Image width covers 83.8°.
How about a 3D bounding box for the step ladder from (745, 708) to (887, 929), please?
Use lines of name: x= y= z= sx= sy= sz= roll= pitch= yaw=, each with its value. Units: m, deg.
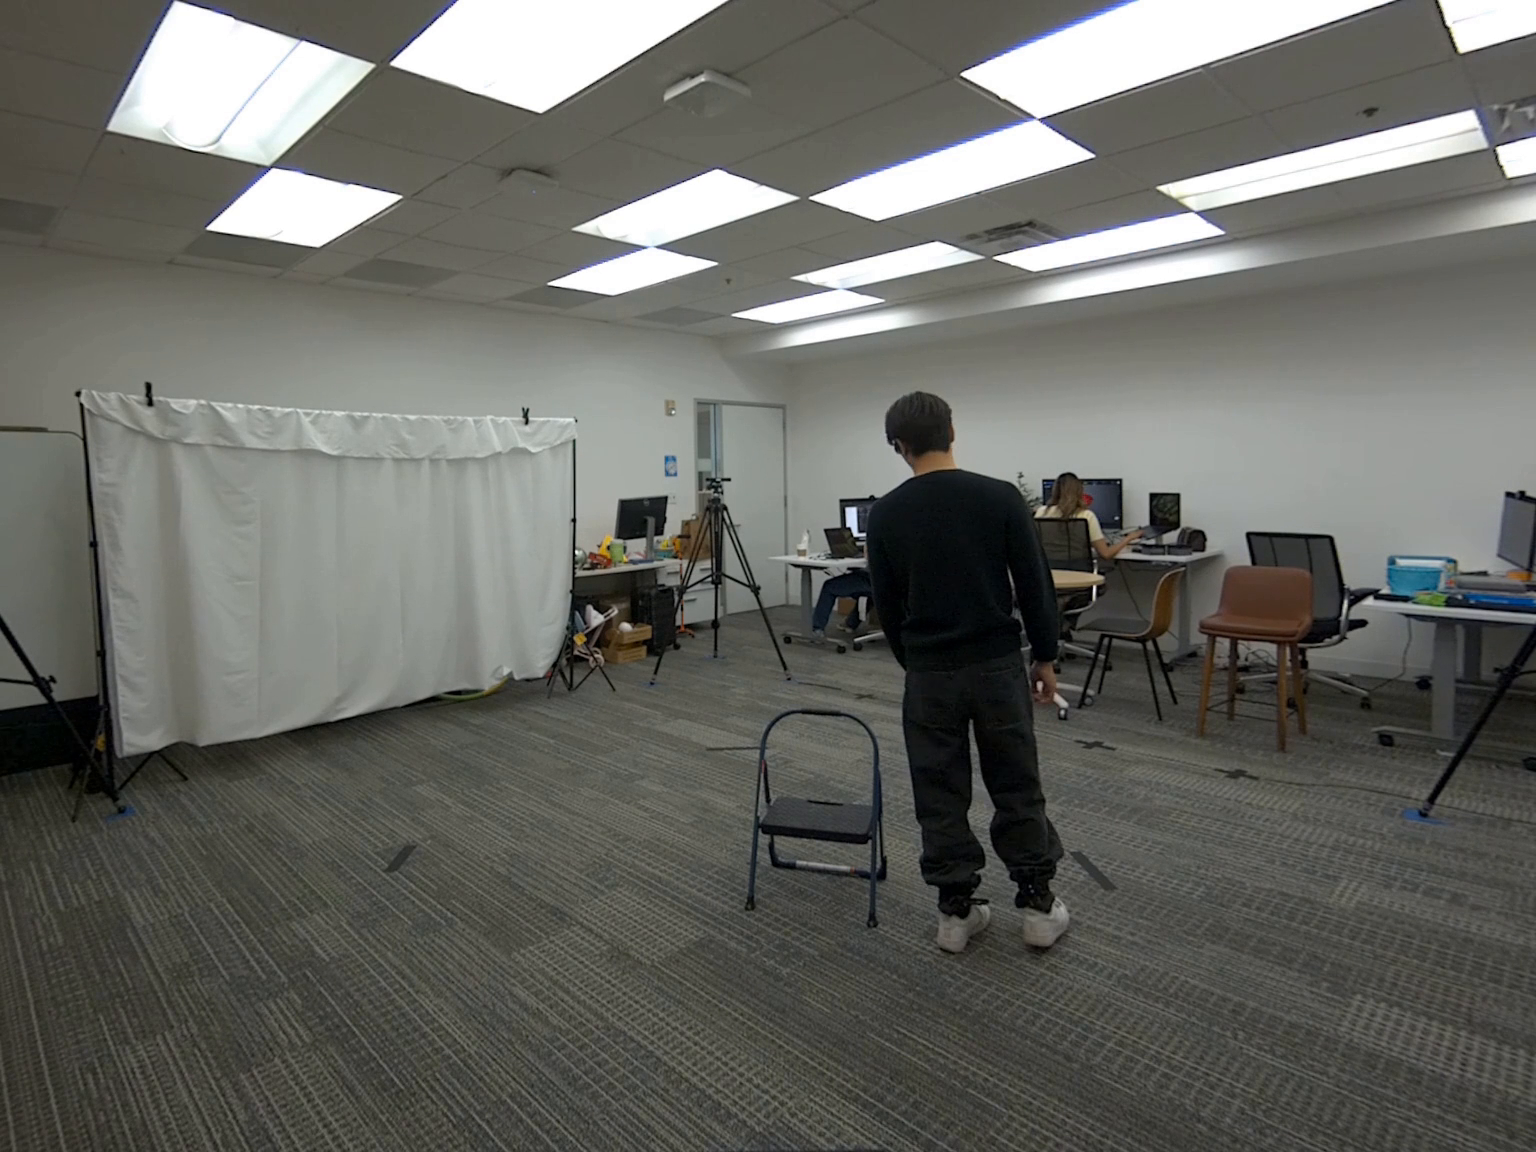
step ladder: x=0.170 y=0.766 z=2.851 sx=0.438 sy=0.603 sz=0.345 roll=1 pitch=5 yaw=16
